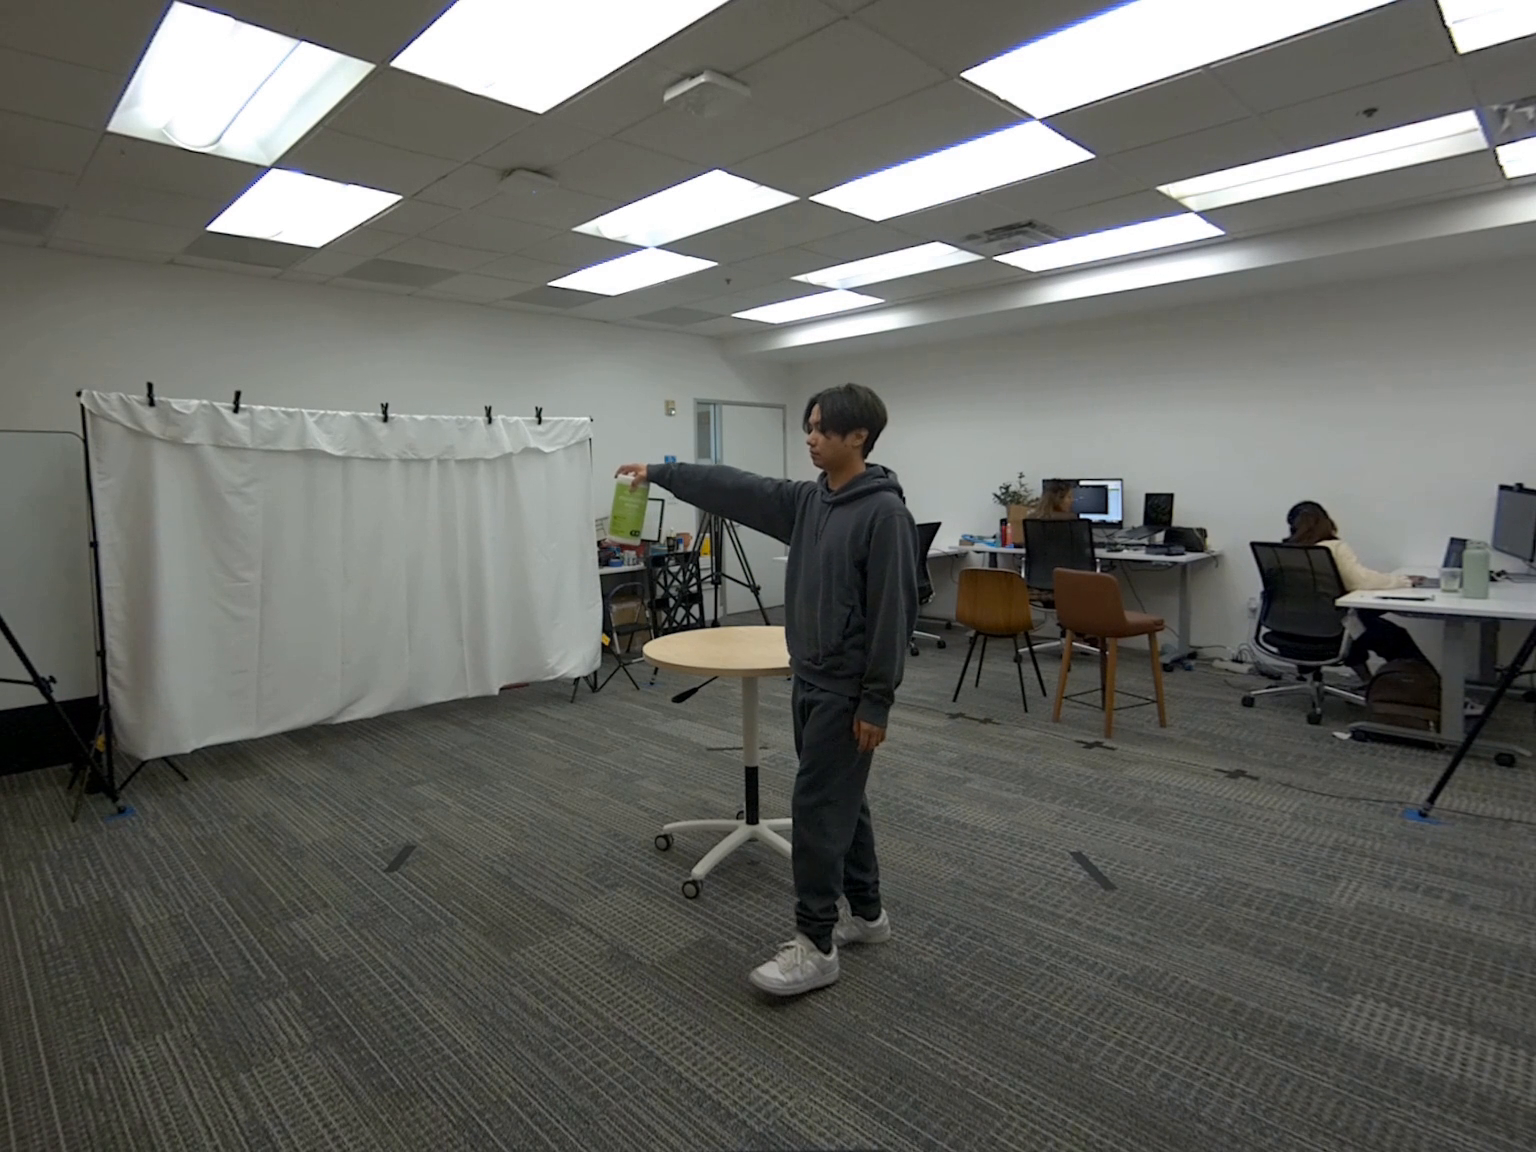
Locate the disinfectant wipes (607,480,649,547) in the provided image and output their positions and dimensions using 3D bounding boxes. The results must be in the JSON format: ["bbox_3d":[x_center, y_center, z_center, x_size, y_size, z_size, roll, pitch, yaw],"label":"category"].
[{"bbox_3d":[-0.453,-0.207,2.742,0.117,0.217,0.118,10,3,-2],"label":"disinfectant wipes"}]
